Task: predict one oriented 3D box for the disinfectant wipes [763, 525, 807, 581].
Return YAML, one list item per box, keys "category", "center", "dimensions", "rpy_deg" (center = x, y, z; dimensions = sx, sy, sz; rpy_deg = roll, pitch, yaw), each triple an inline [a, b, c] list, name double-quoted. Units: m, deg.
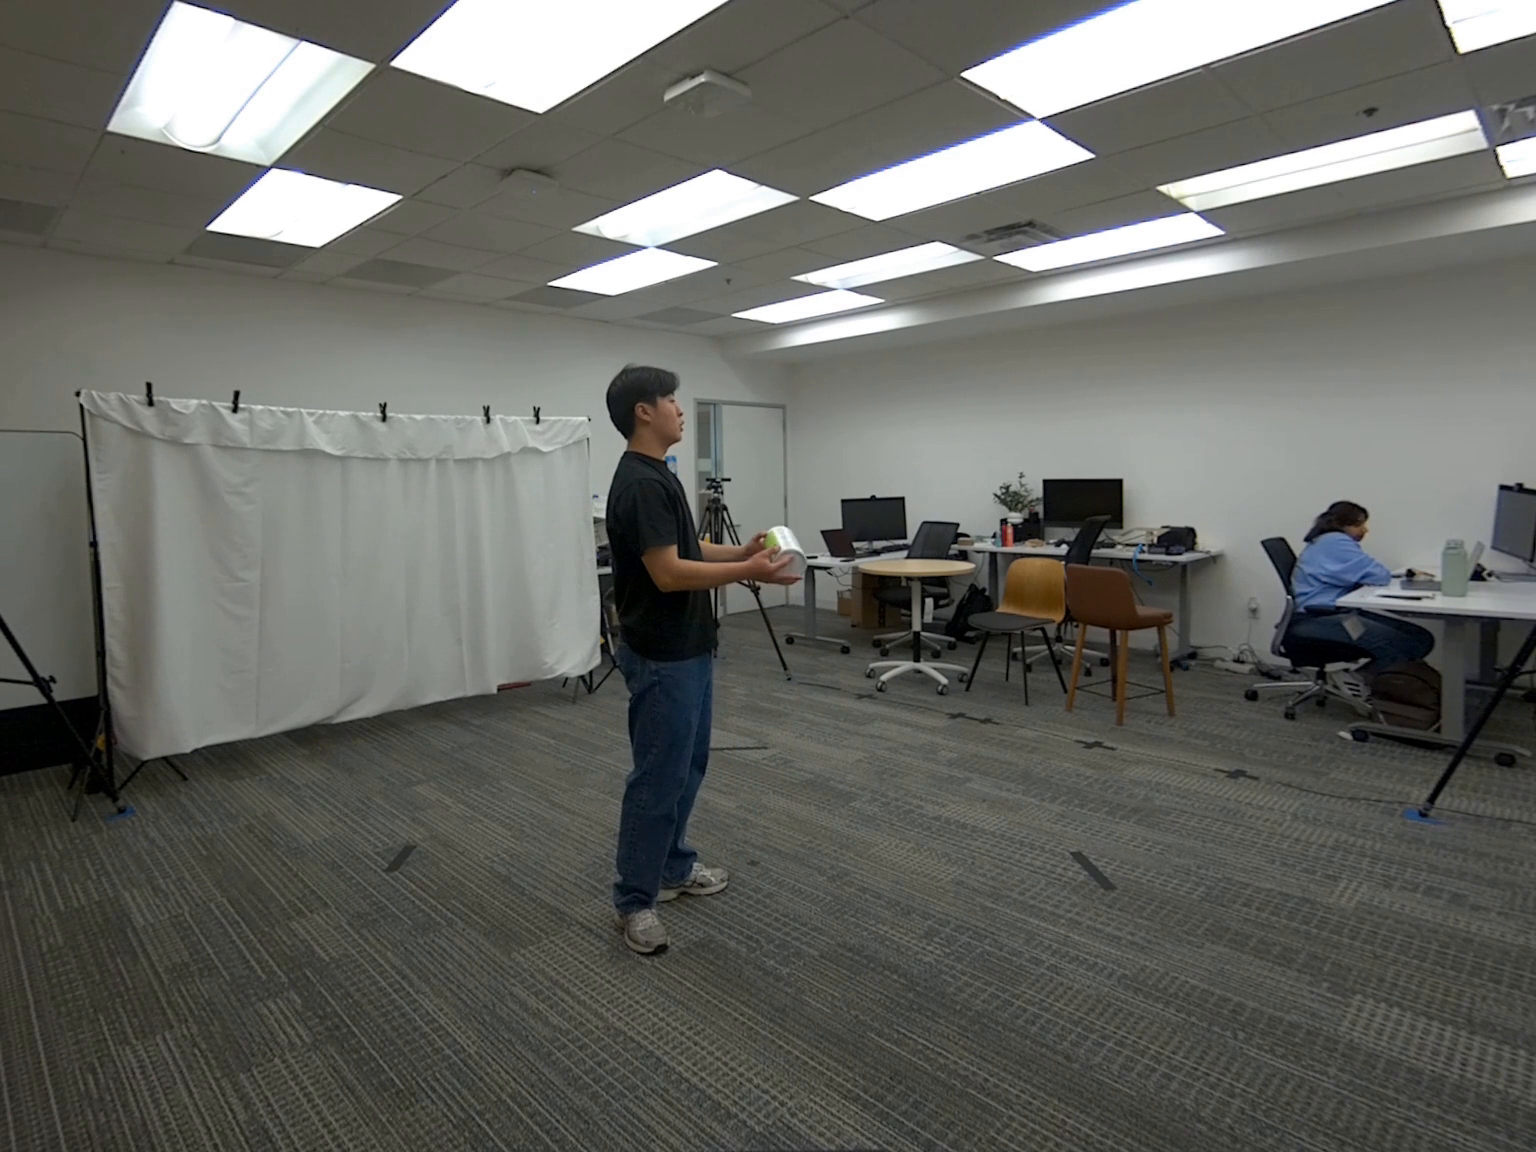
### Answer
- category: "disinfectant wipes"
  center: [0.054, -0.073, 2.710]
  dimensions: [0.117, 0.115, 0.223]
  rpy_deg: [-2, 25, -9]
